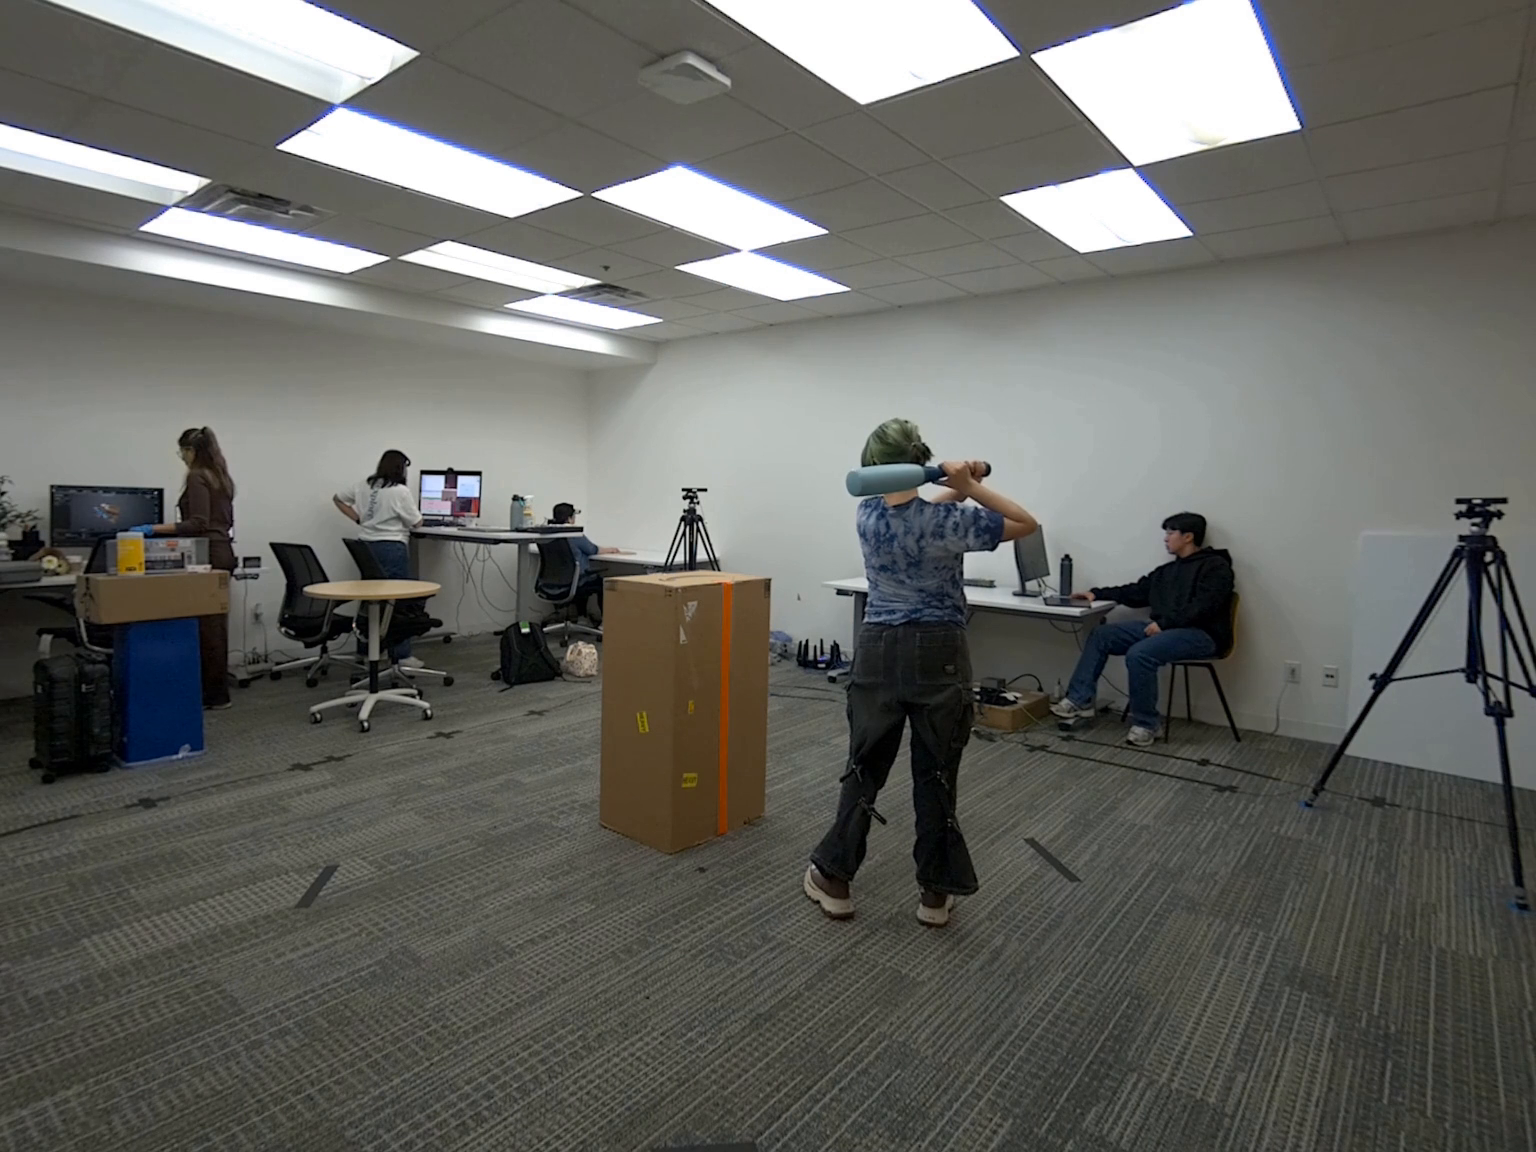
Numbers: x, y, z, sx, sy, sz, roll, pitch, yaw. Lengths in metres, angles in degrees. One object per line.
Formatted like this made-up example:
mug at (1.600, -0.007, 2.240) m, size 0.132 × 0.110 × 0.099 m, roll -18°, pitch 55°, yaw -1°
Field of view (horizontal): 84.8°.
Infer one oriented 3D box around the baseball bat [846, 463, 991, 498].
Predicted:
baseball bat at (0.474, -0.315, 2.655) m, size 0.531 × 0.088 × 0.091 m, roll -10°, pitch 8°, yaw -27°
